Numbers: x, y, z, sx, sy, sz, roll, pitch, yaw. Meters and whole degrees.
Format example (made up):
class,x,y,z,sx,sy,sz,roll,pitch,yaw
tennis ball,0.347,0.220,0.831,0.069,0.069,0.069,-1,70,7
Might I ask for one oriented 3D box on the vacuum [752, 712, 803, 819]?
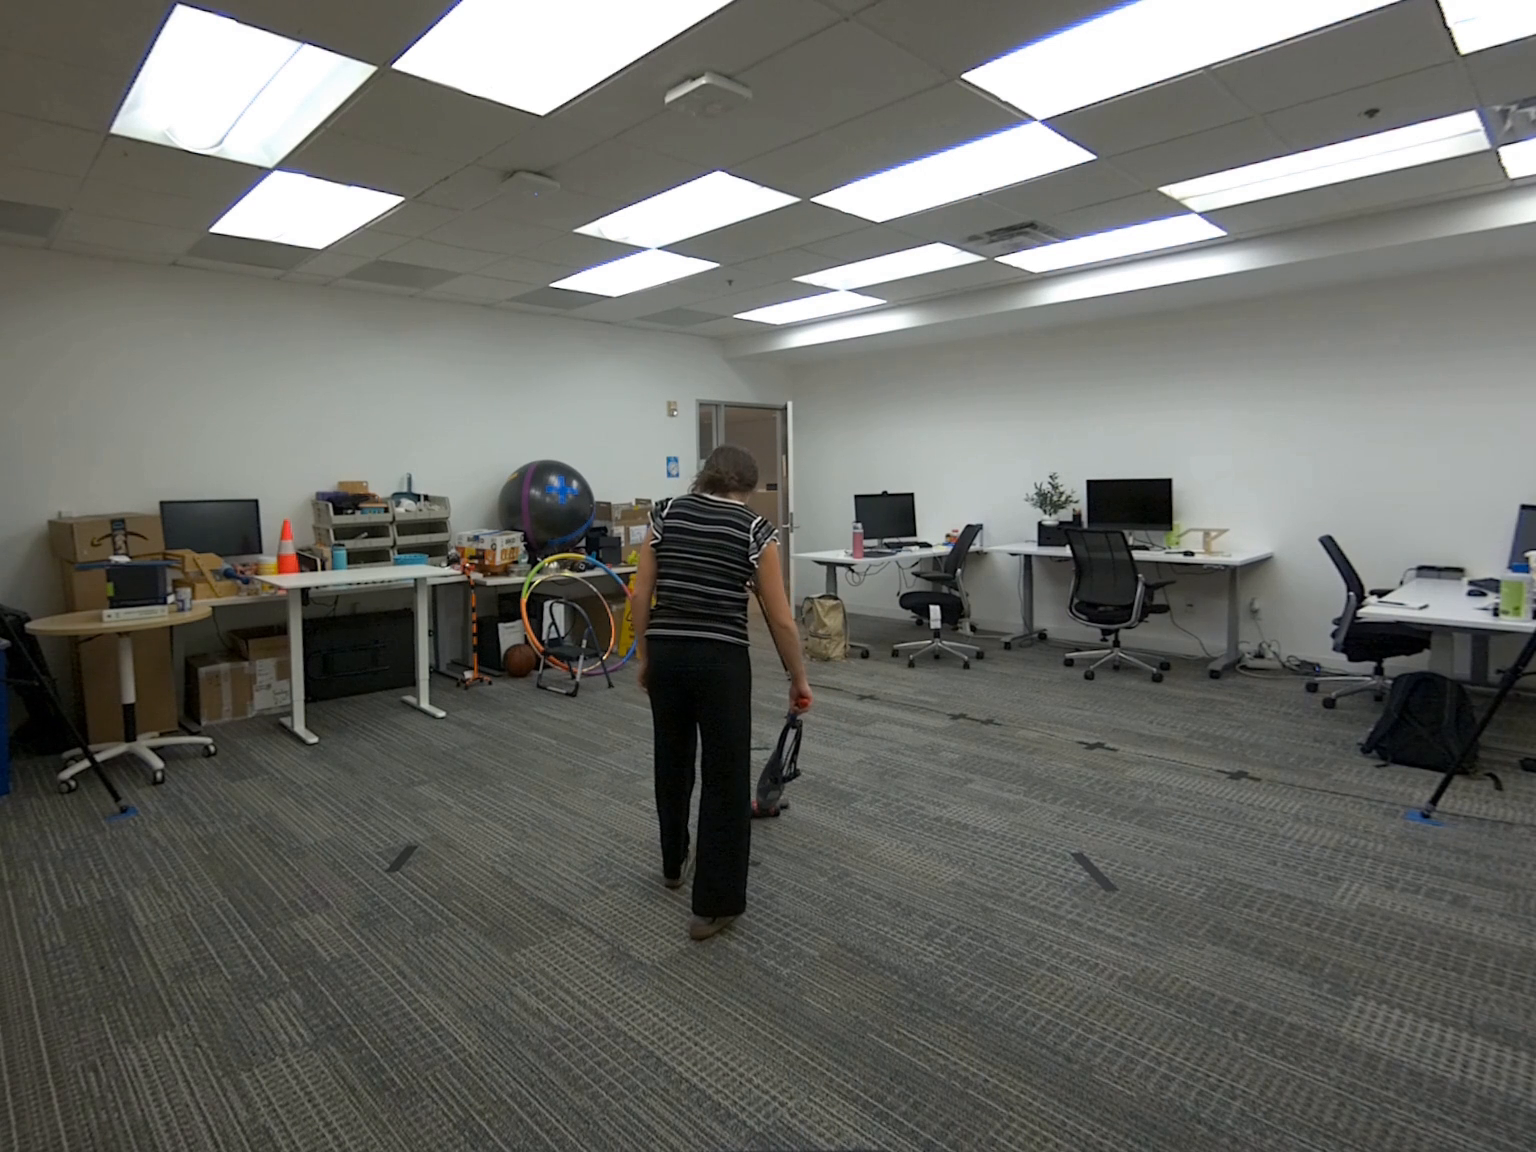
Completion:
class,x,y,z,sx,sy,sz,roll,pitch,yaw
vacuum,0.045,0.692,3.162,0.250,0.148,1.029,-1,-33,-10
